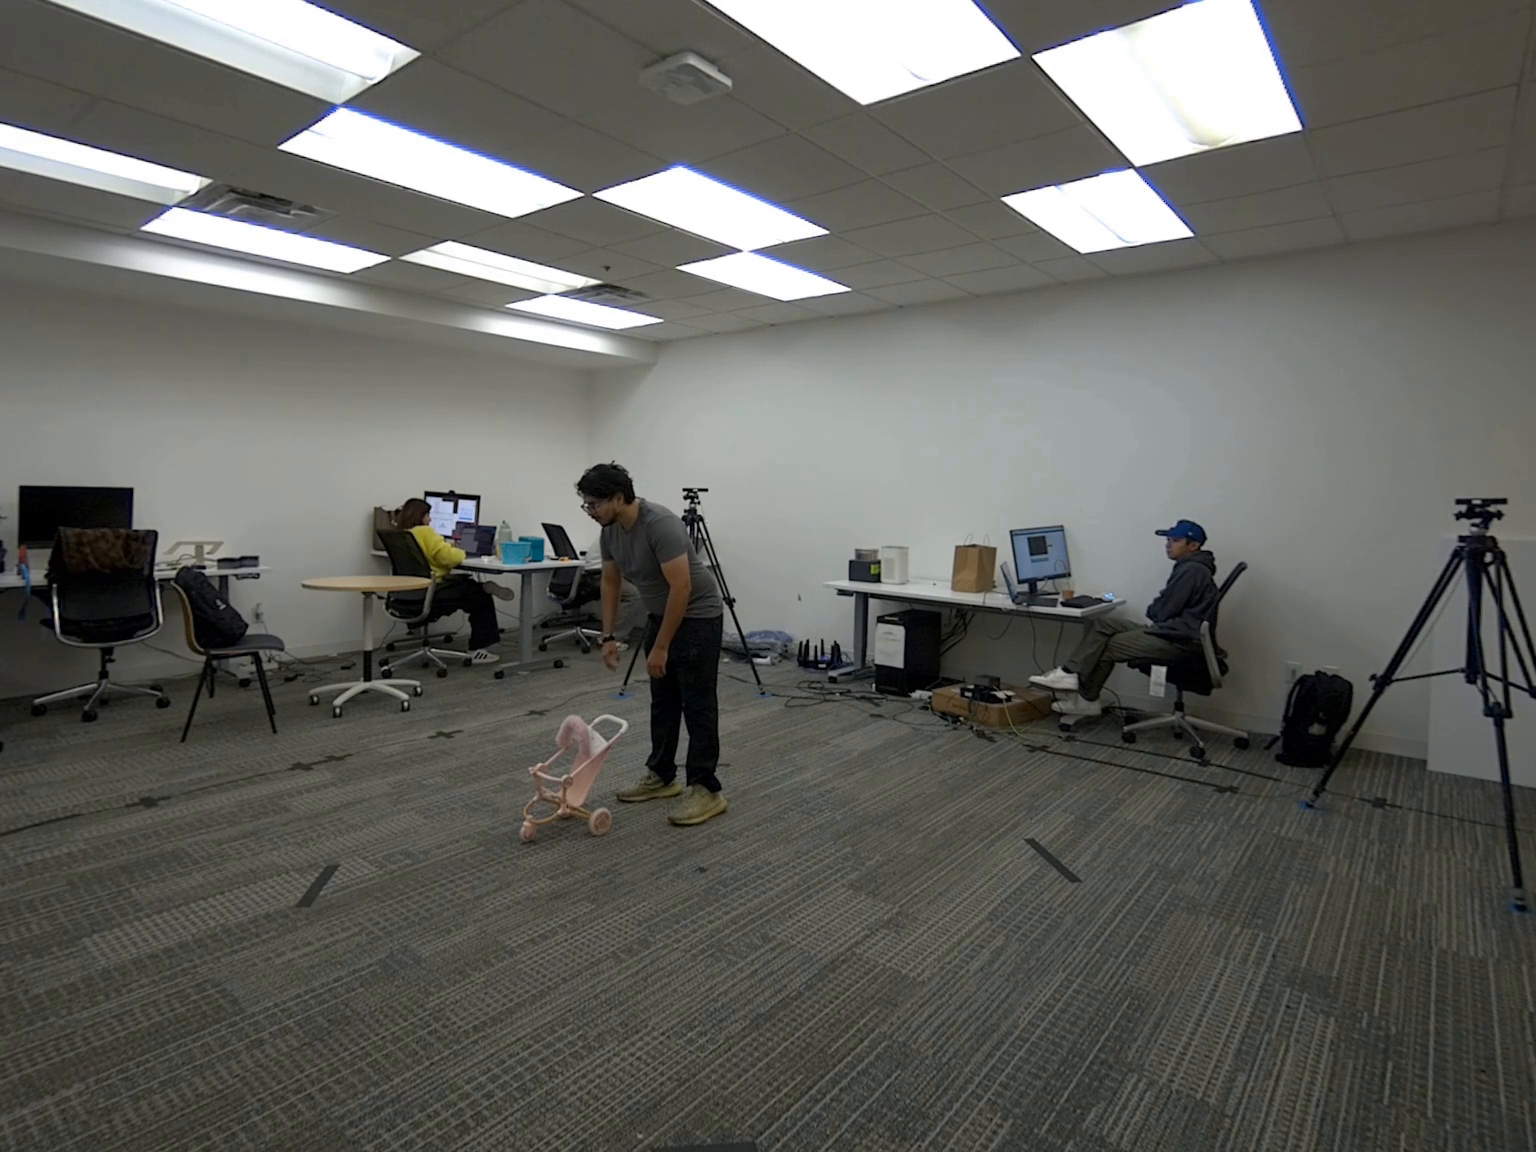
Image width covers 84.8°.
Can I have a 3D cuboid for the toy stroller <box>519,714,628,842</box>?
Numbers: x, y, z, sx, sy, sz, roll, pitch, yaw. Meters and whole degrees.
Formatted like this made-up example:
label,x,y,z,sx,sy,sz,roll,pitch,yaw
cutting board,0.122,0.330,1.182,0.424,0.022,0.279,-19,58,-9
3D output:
label,x,y,z,sx,sy,sz,roll,pitch,yaw
toy stroller,-0.812,0.805,3.445,0.328,0.538,0.291,21,-10,-39
